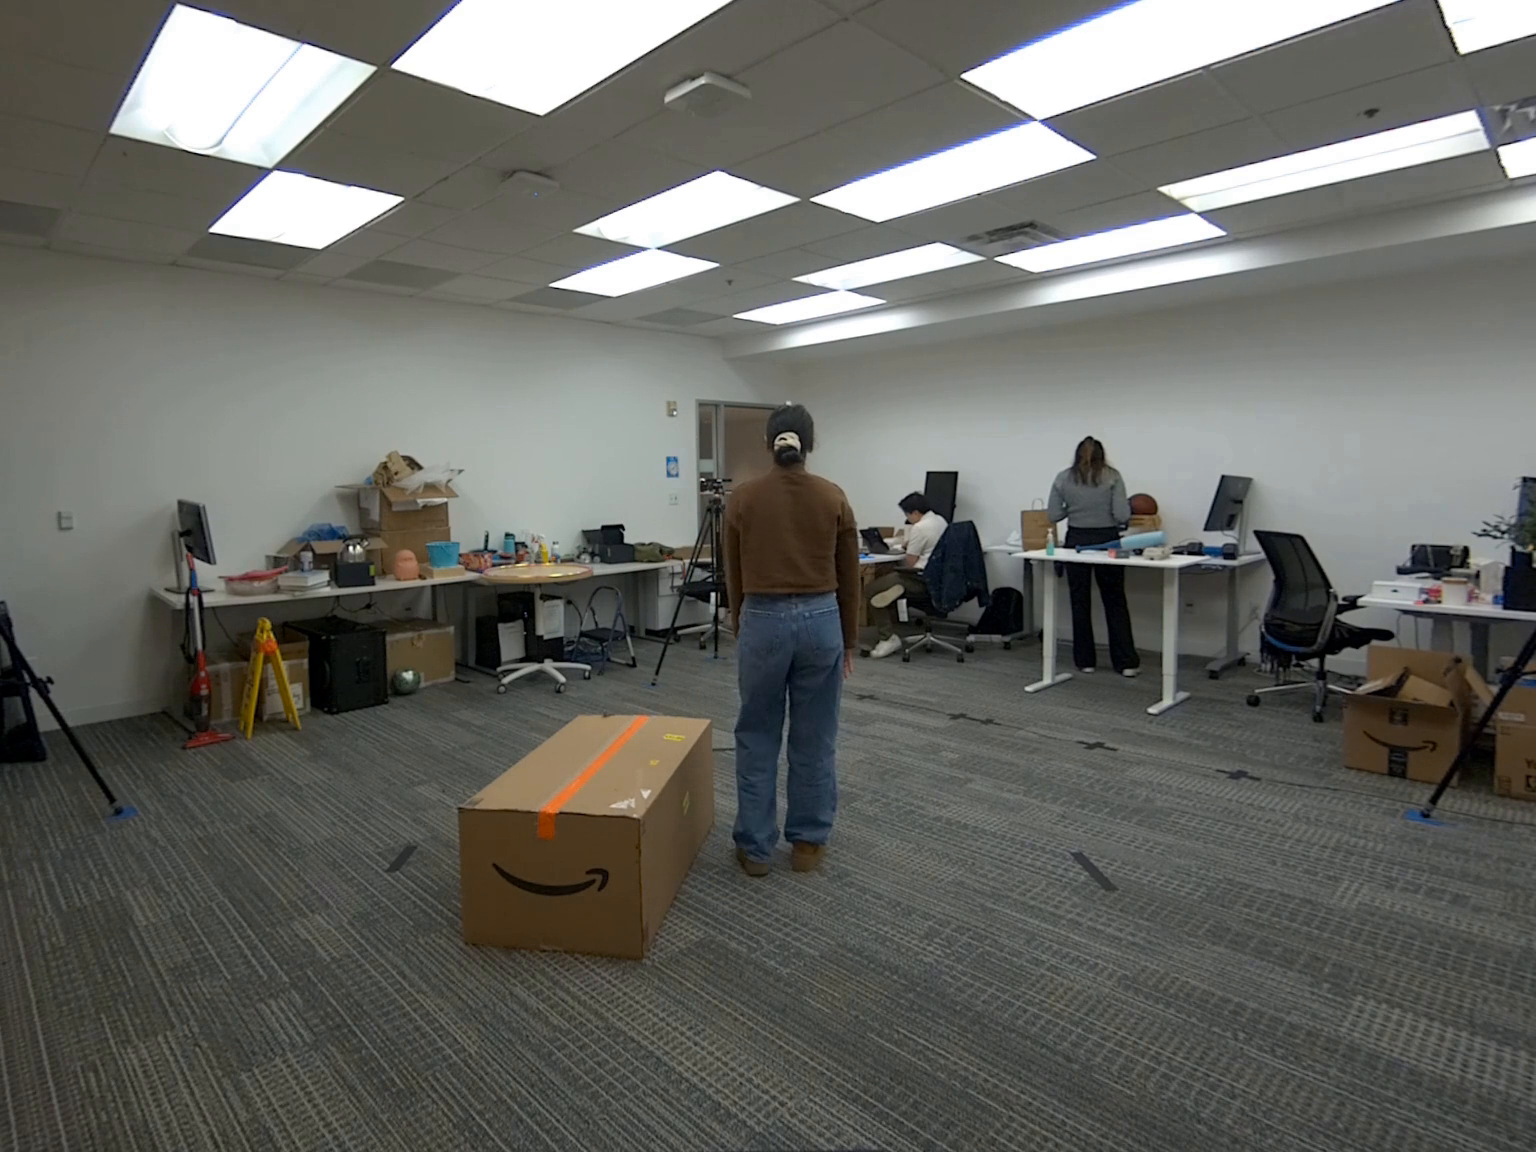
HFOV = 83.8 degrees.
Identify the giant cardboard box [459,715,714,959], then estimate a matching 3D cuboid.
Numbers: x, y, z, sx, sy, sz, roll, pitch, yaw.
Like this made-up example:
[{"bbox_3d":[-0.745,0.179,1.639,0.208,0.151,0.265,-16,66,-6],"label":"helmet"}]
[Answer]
[{"bbox_3d":[-0.580,0.847,3.031,0.583,0.424,1.021,0,6,8],"label":"giant cardboard box"}]
